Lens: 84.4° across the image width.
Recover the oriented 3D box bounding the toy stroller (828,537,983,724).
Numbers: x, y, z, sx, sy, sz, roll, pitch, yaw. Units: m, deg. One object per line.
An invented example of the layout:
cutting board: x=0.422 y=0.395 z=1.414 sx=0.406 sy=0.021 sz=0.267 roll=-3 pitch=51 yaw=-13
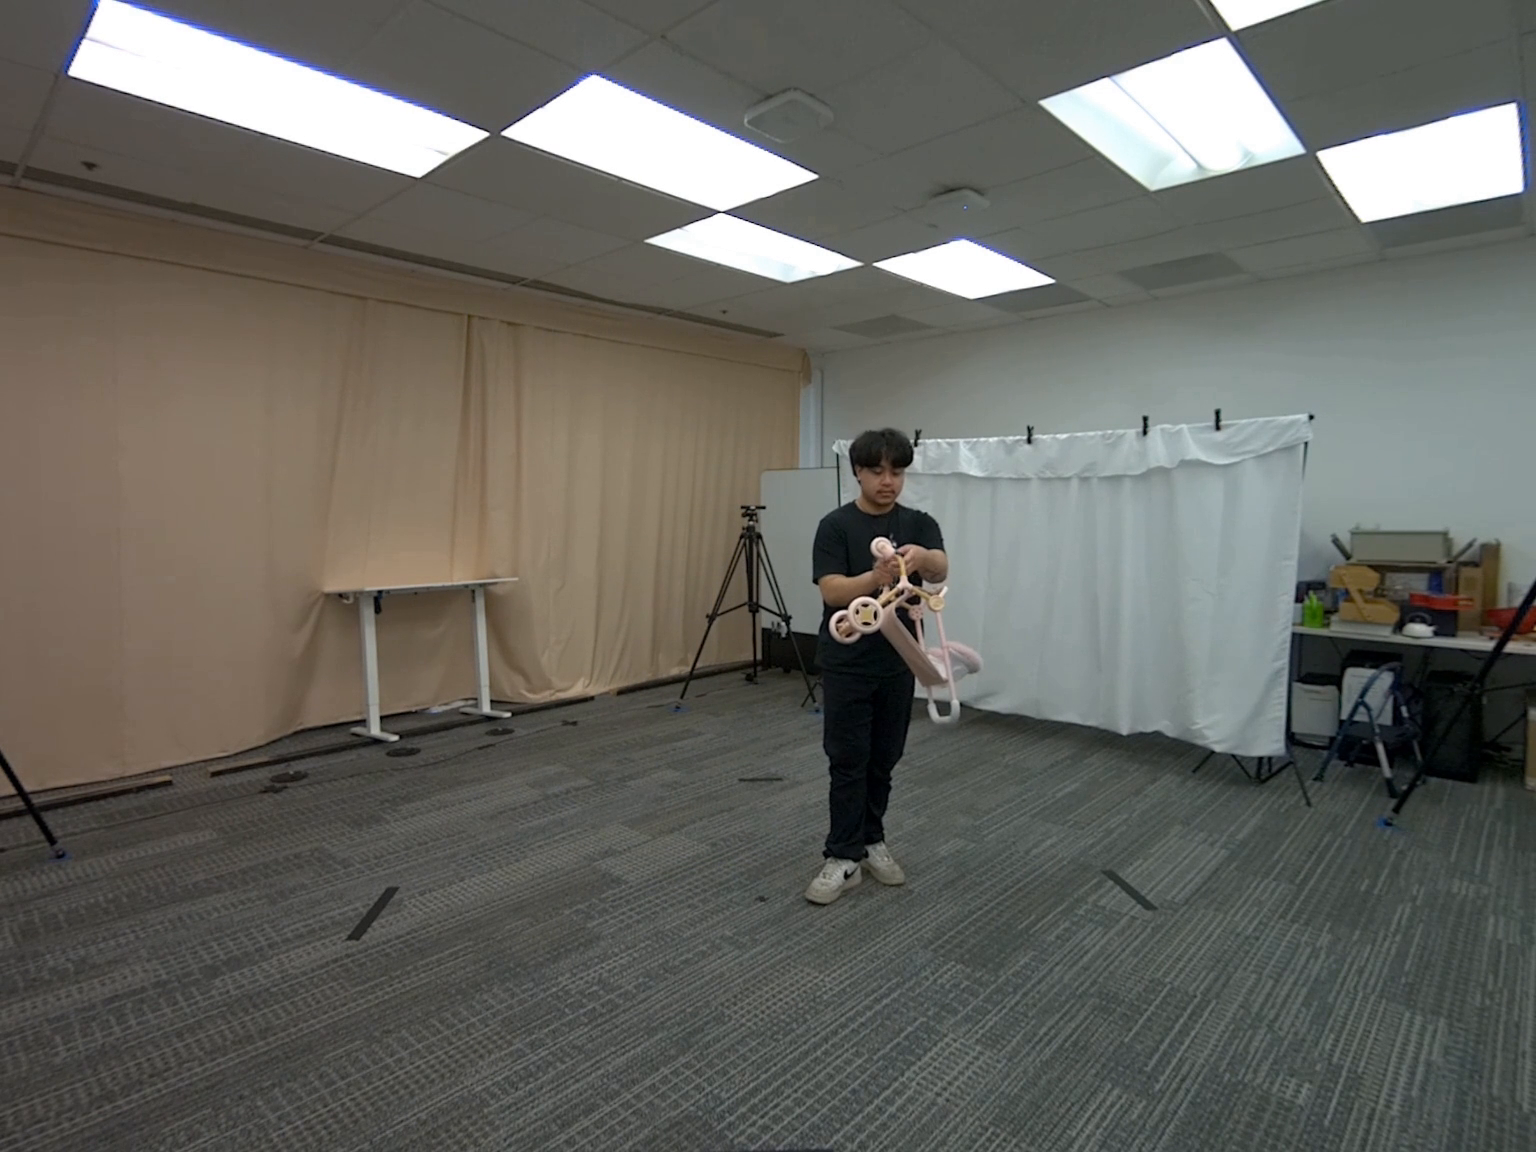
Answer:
toy stroller: x=0.450 y=0.163 z=2.649 sx=0.538 sy=0.340 sz=0.281 roll=40 pitch=-19 yaw=5
